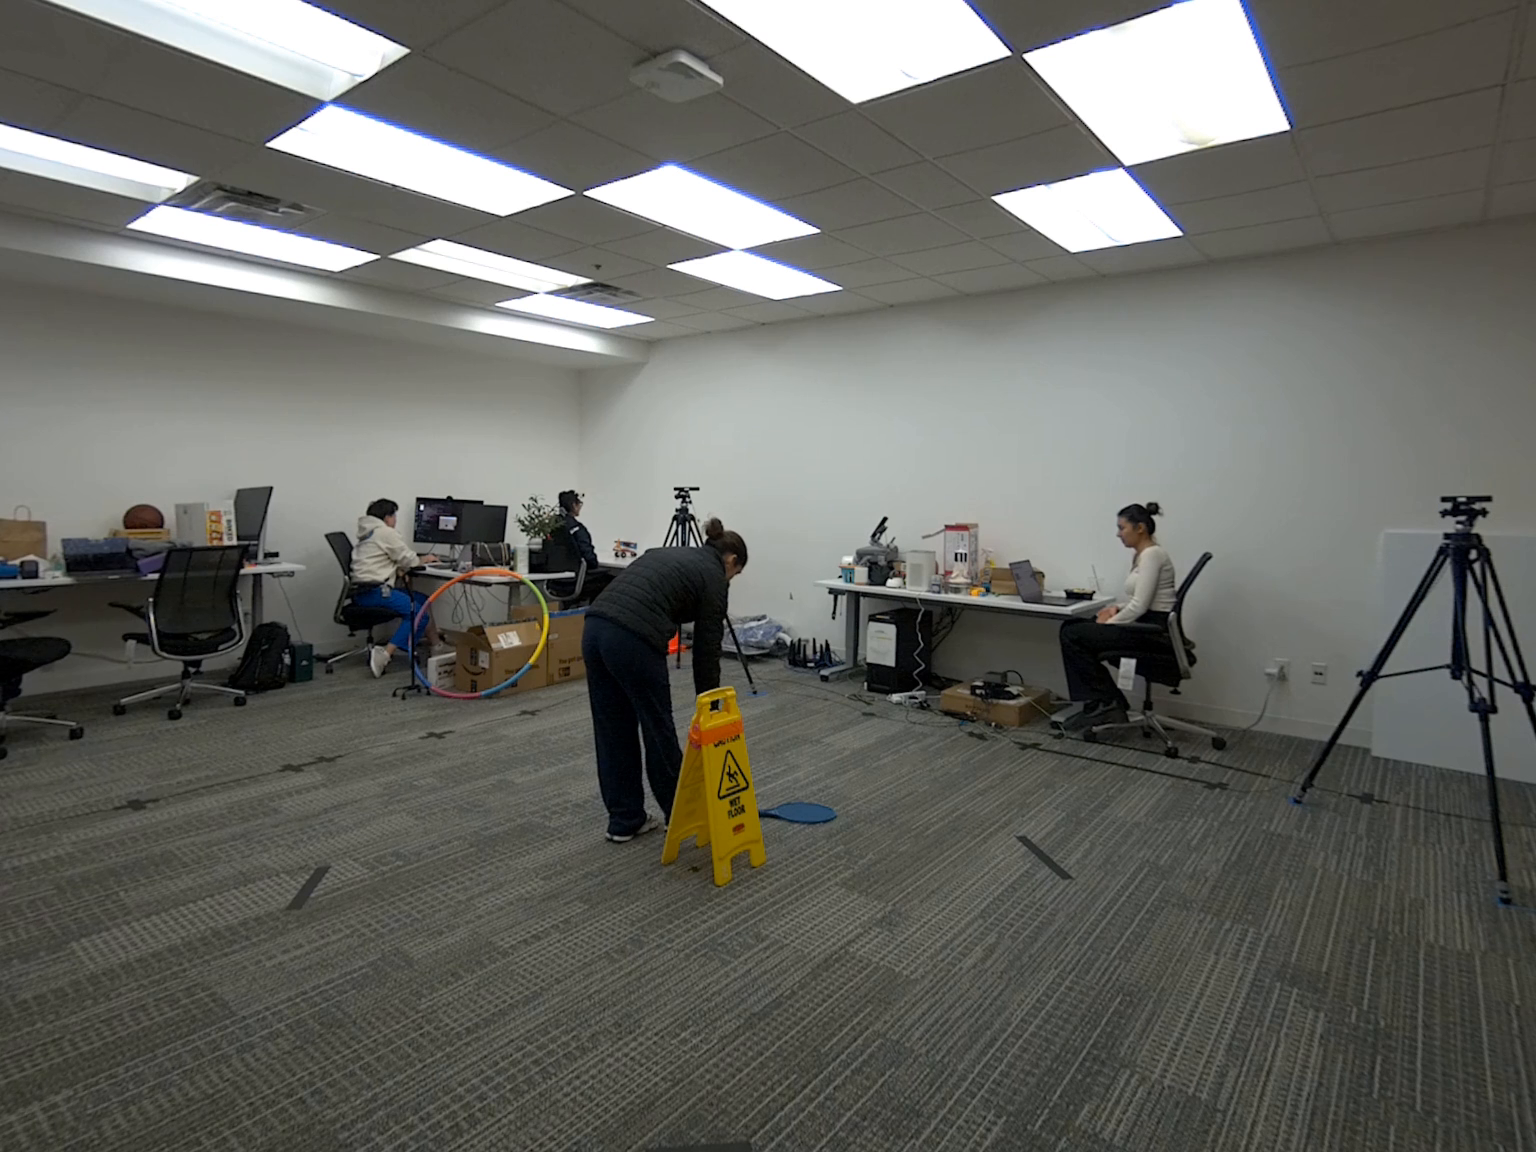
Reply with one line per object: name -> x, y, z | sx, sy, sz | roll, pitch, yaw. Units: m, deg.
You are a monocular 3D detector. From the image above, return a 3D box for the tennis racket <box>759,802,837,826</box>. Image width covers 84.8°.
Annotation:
tennis racket -> 0.098, 1.005, 3.637 | 0.429, 0.031, 0.216 | 2, 6, -8
